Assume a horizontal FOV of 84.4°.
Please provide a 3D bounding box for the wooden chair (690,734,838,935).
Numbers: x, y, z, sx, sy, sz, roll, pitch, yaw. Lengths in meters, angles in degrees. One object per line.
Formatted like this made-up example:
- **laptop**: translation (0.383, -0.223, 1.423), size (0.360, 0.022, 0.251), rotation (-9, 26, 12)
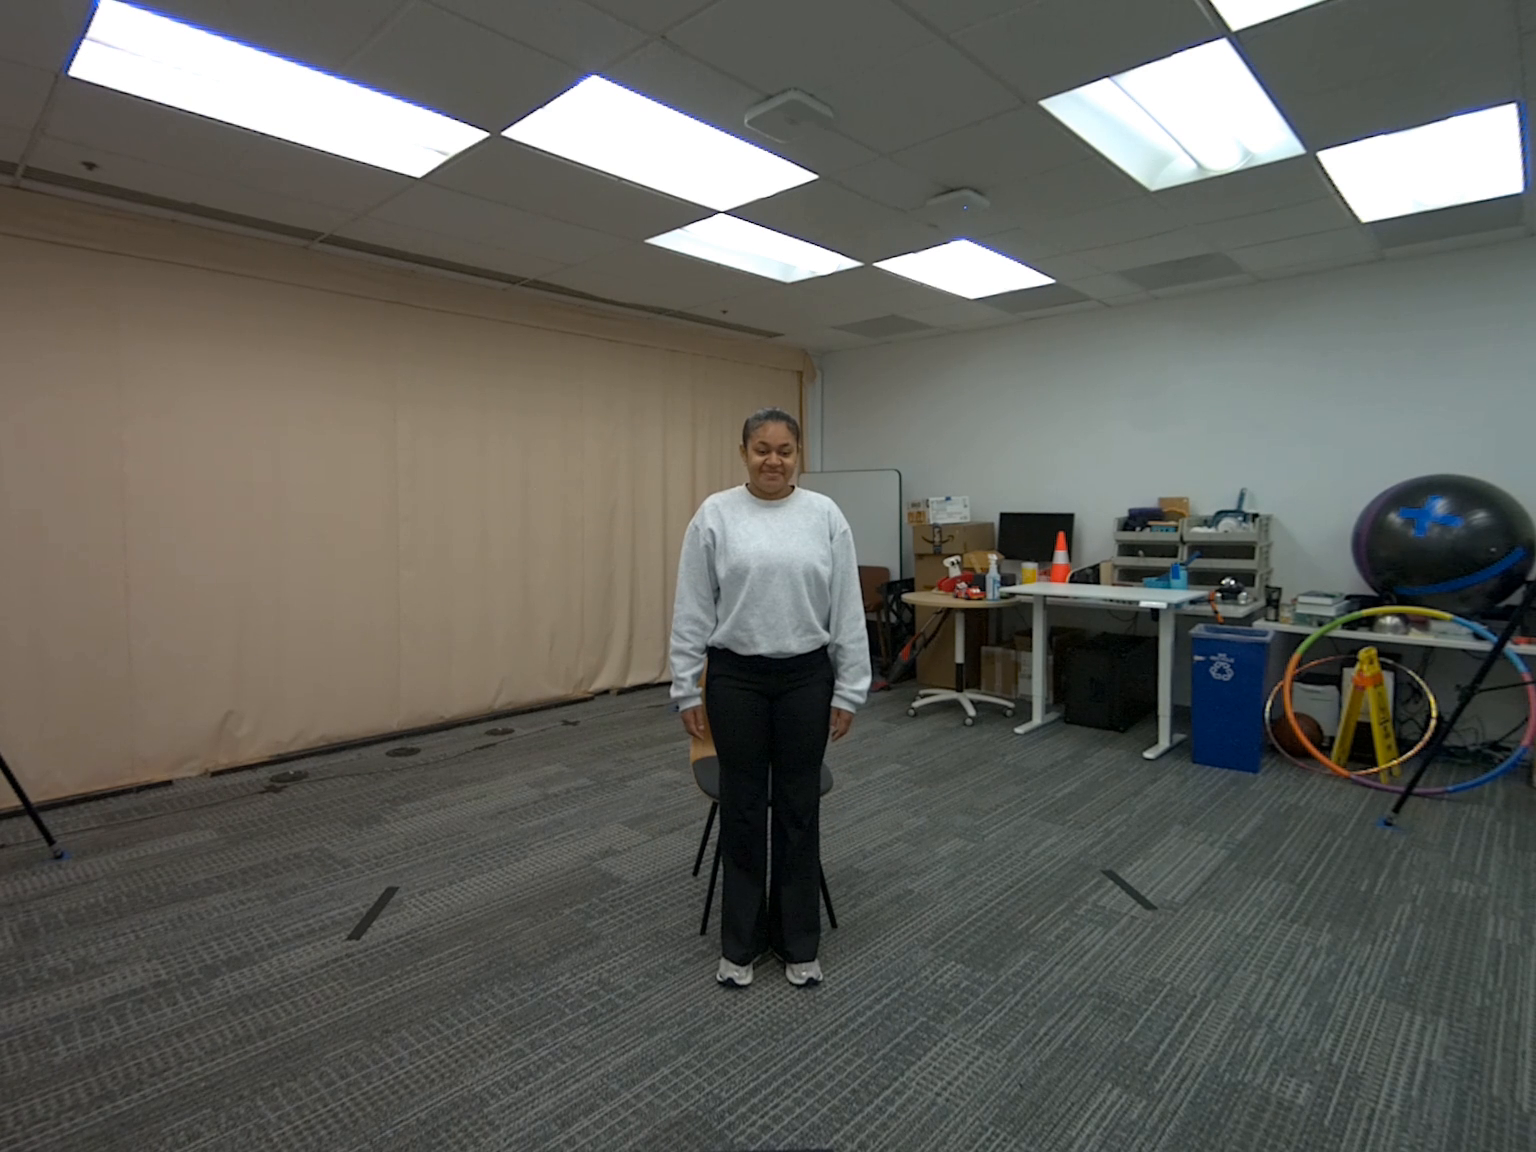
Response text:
- **wooden chair**: translation (-0.023, 0.717, 2.936), size (0.475, 0.878, 0.527), rotation (0, -1, -7)
